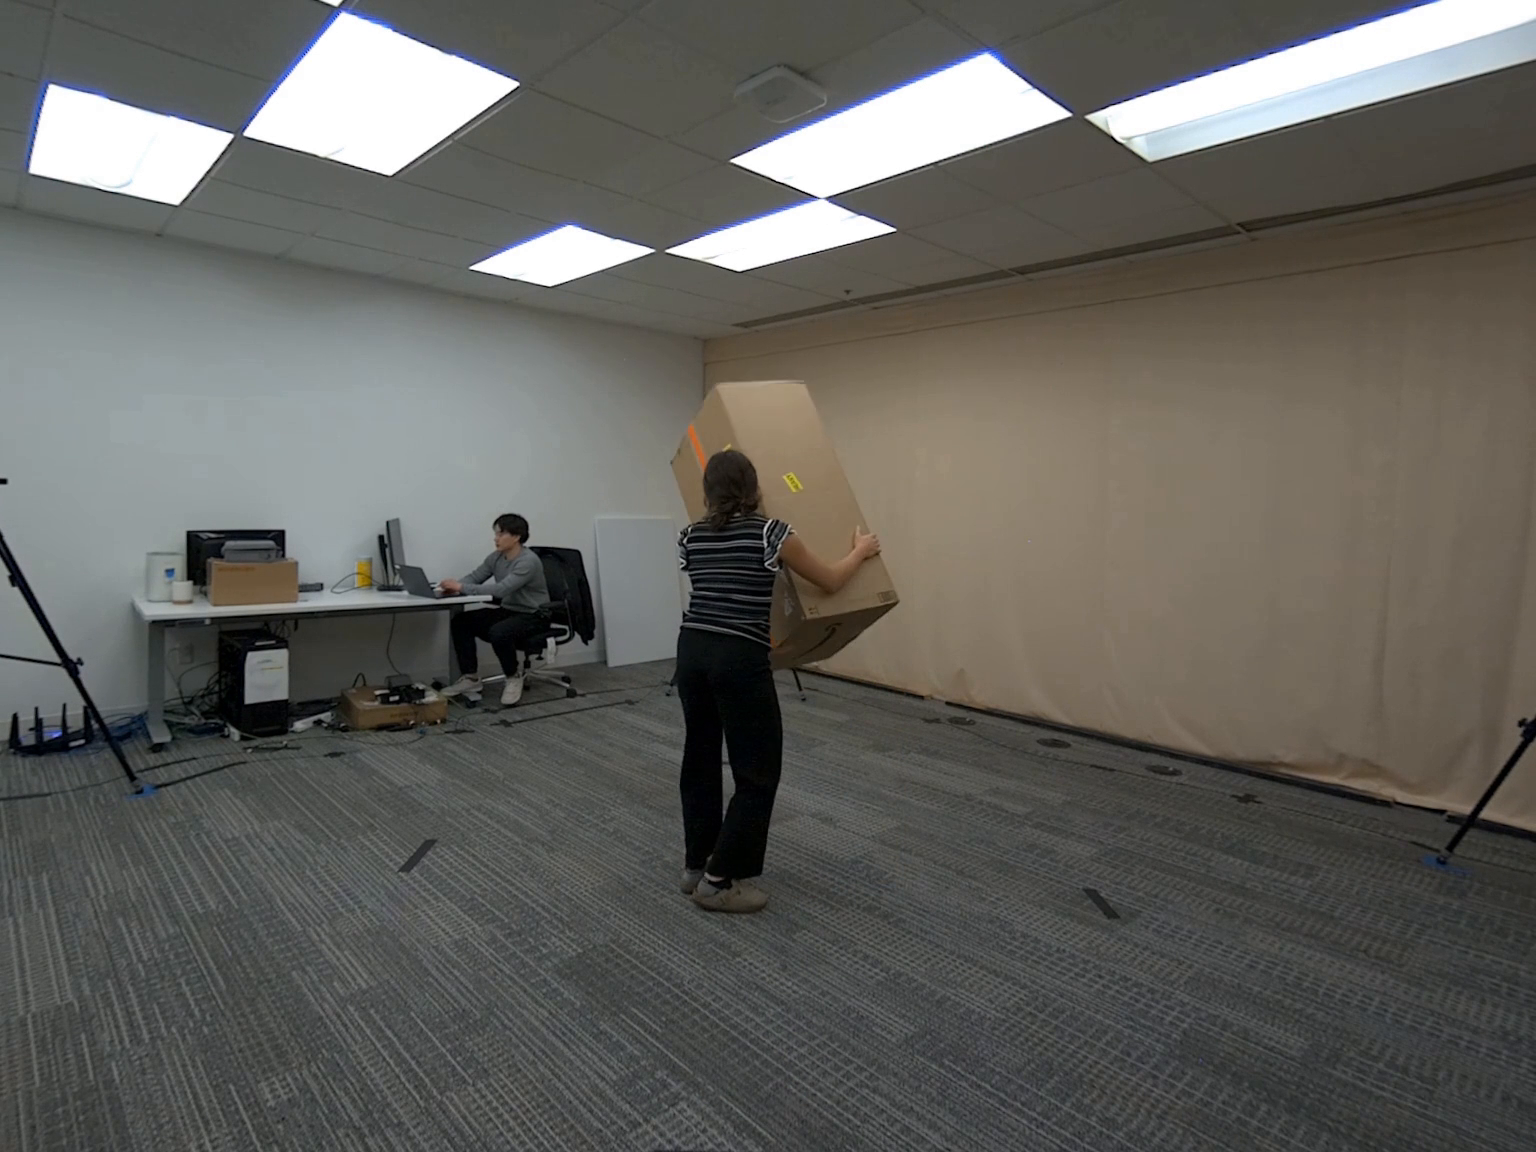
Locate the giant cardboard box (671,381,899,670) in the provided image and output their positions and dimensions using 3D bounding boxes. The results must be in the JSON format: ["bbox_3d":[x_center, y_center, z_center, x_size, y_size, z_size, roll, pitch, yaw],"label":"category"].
[{"bbox_3d":[0.022,-0.185,3.425,0.419,1.046,0.576,-8,-24,-30],"label":"giant cardboard box"}]
